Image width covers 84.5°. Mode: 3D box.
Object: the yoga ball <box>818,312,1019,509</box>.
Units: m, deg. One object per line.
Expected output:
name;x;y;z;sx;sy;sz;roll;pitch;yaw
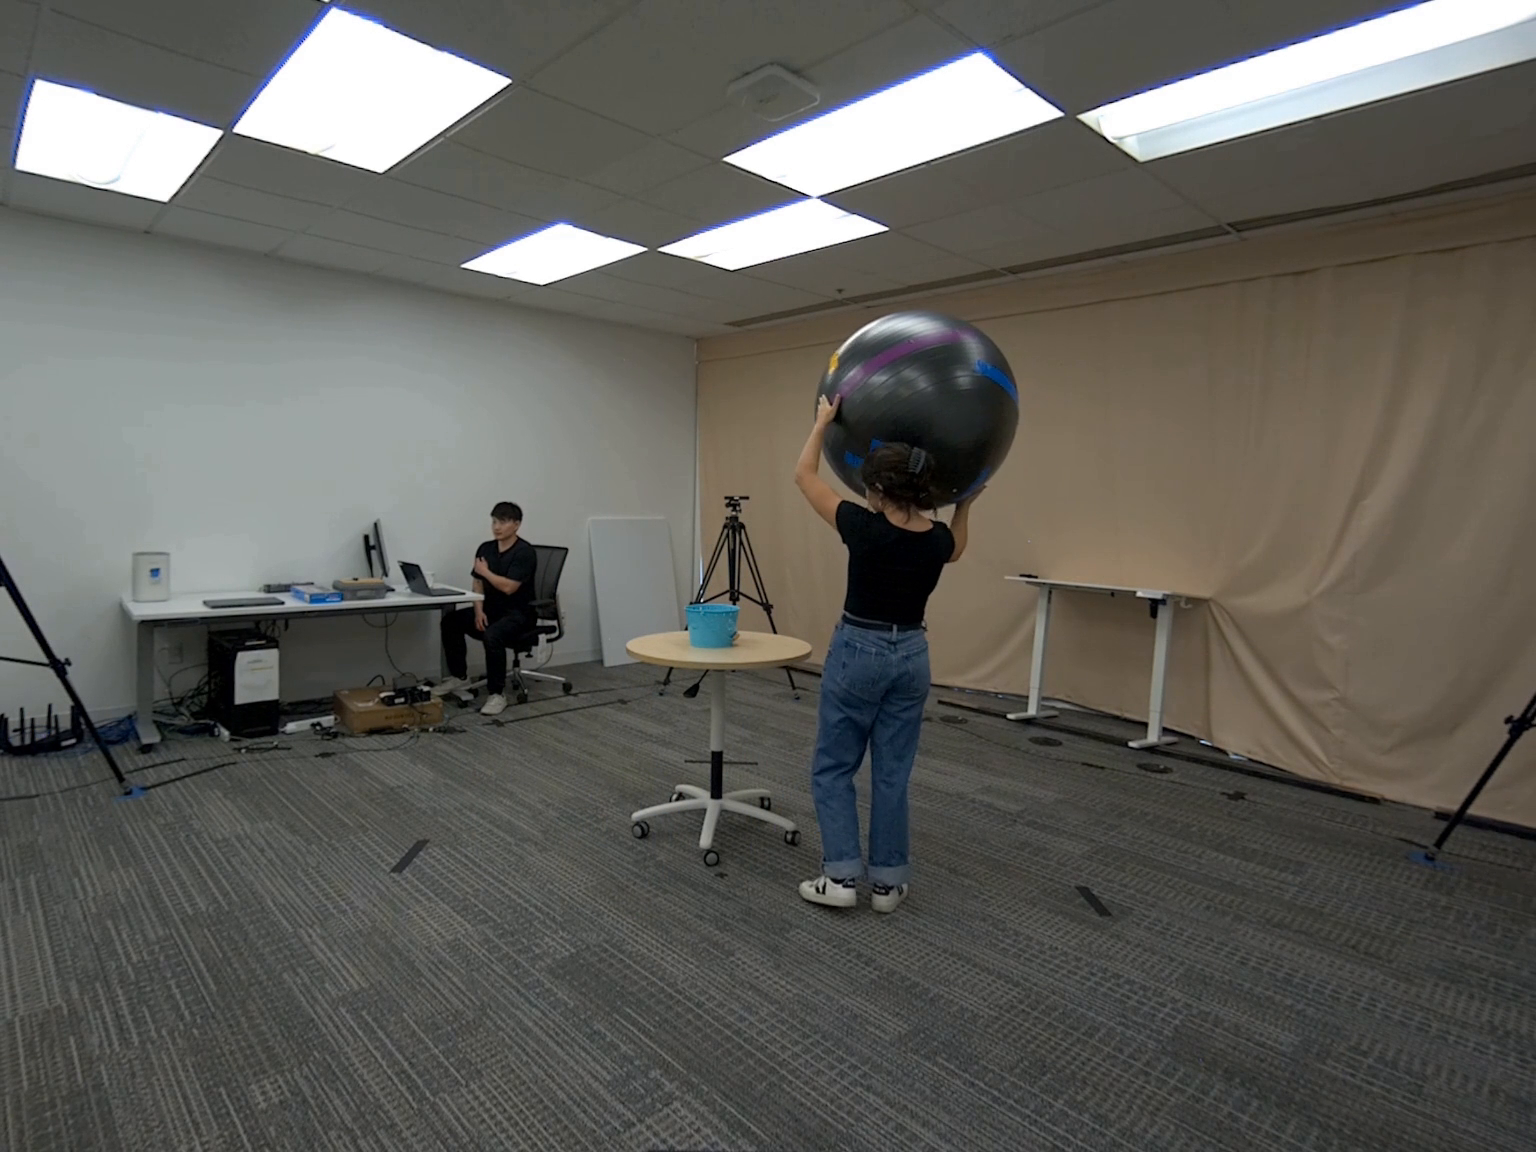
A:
yoga ball;0.553;-0.618;3.216;0.757;0.756;0.761;1;4;-1
